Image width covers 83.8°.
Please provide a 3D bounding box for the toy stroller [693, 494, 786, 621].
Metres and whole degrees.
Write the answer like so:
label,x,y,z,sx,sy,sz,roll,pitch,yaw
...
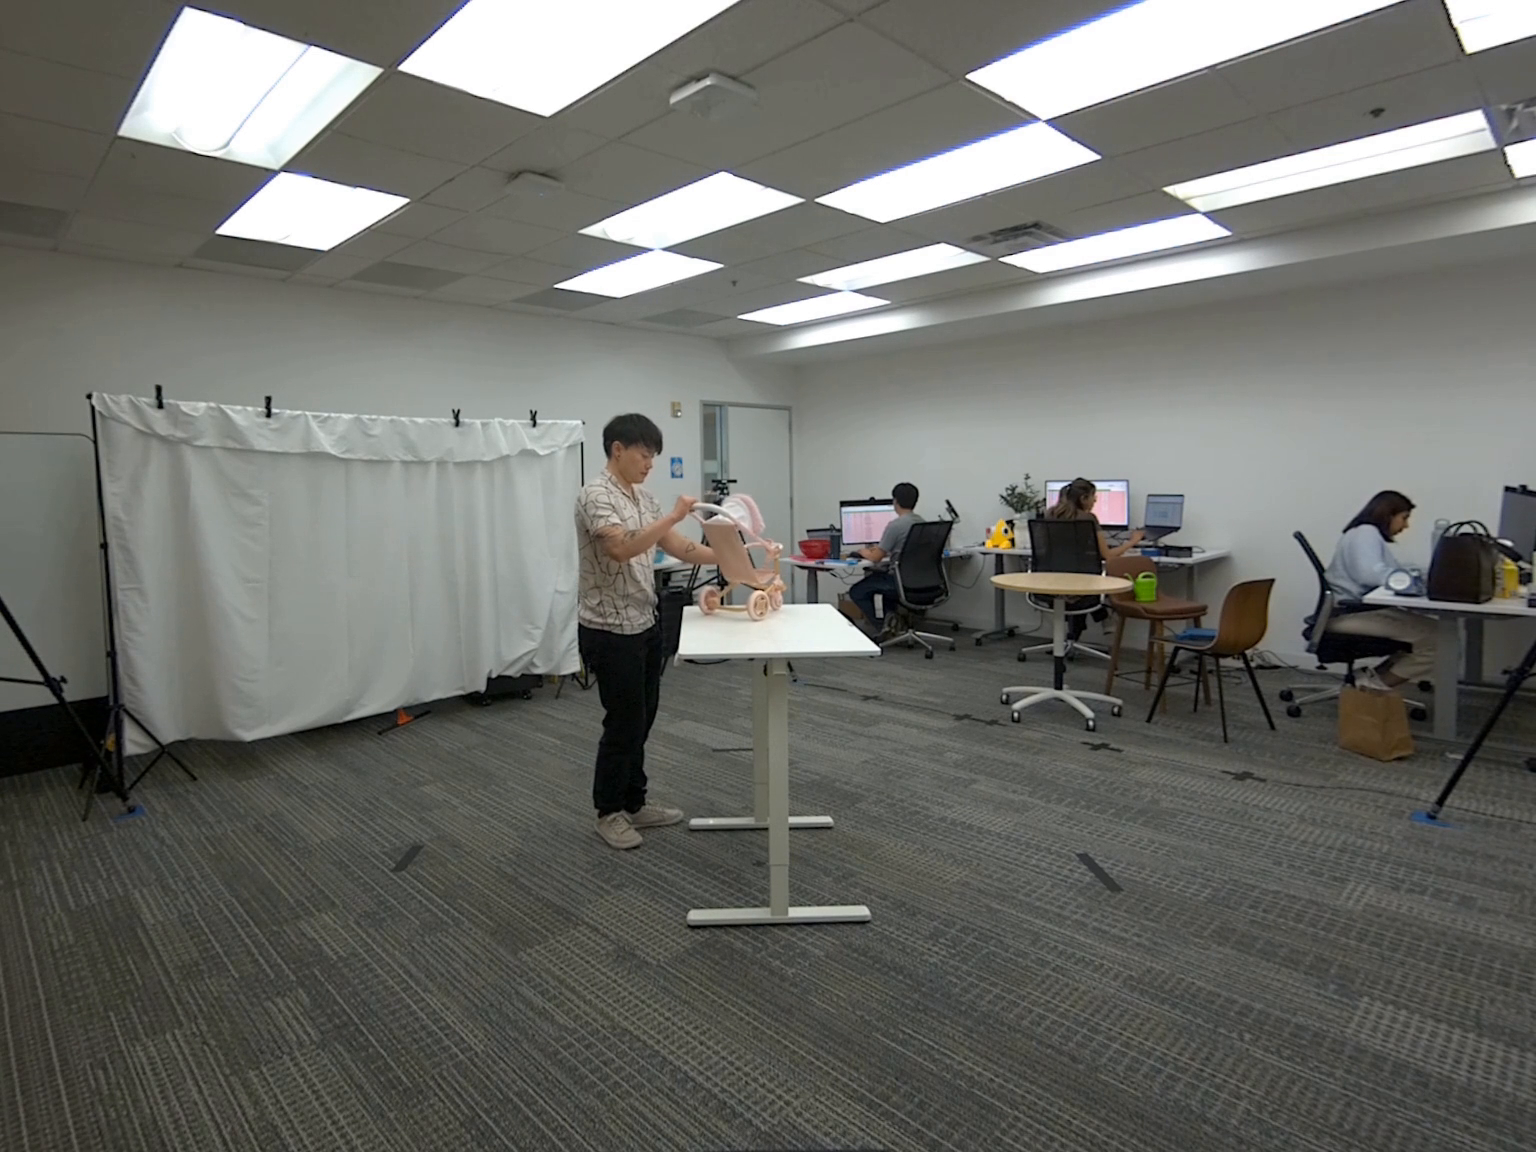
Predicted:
label,x,y,z,sx,sy,sz,roll,pitch,yaw
toy stroller,-0.093,-0.072,3.234,0.290,0.527,0.336,3,21,46
